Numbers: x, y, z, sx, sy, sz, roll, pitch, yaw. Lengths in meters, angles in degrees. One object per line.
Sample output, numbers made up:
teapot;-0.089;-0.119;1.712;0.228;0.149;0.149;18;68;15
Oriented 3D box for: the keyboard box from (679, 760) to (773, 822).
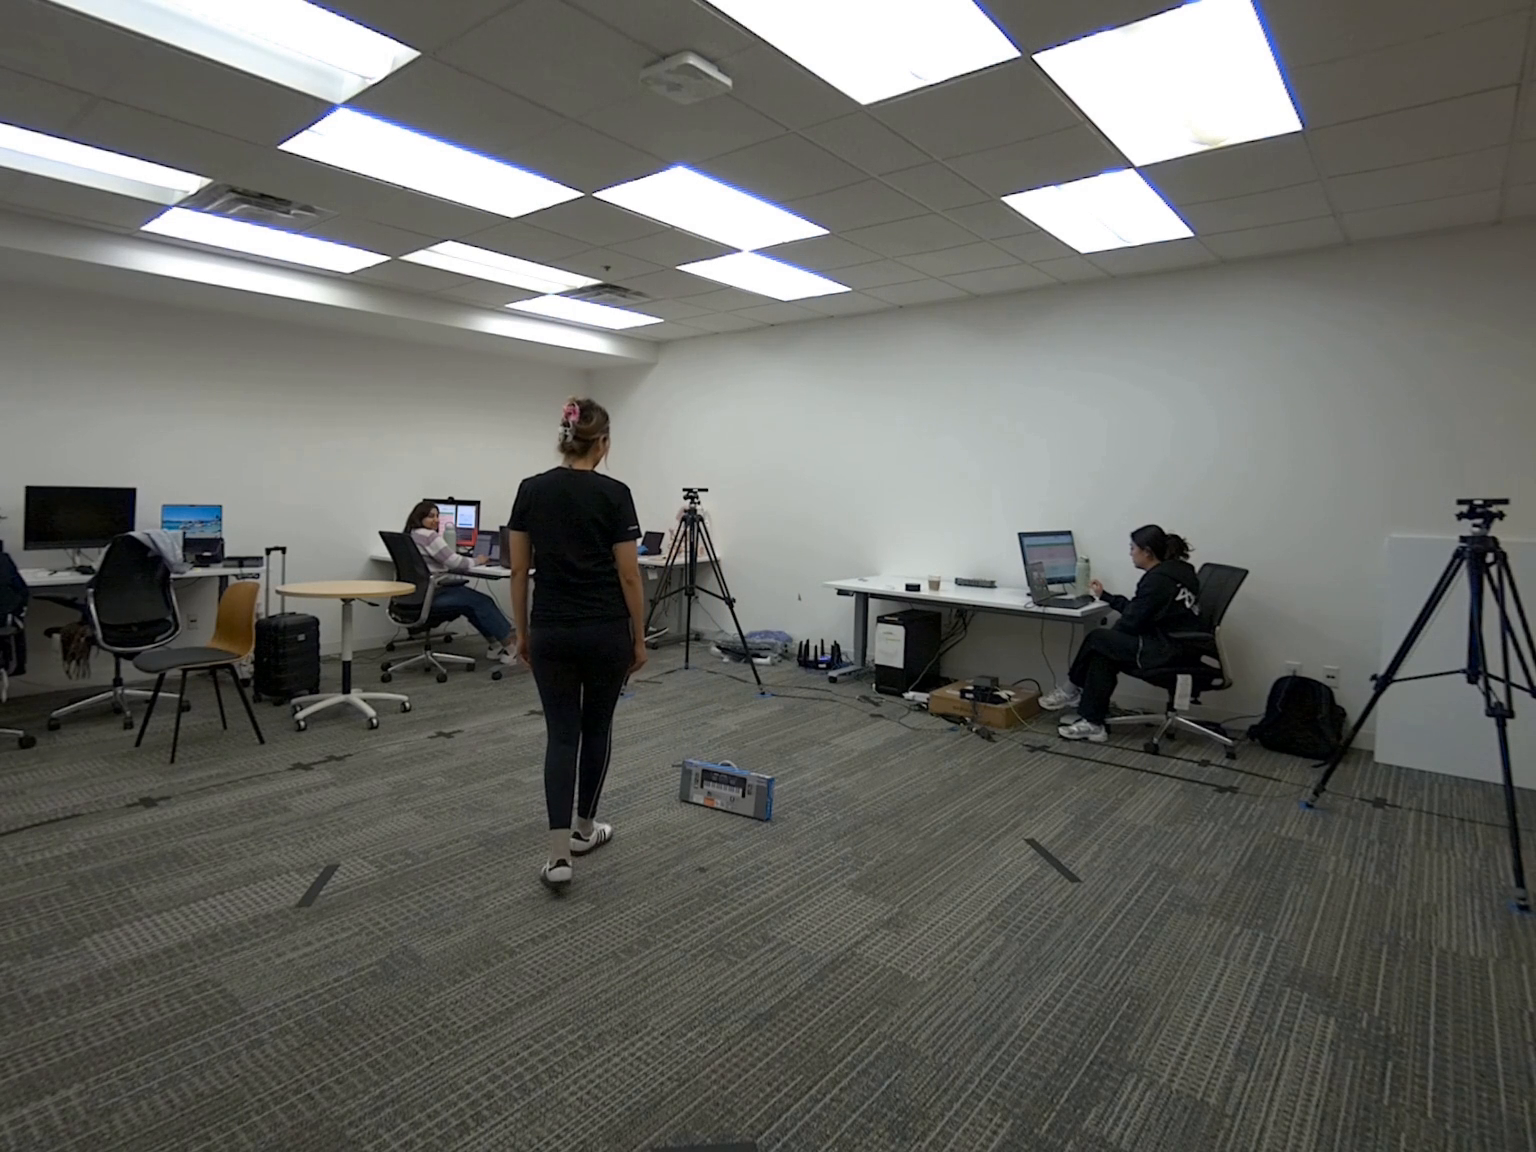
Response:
keyboard box;-0.193;0.924;3.707;0.450;0.176;0.057;4;-4;30
